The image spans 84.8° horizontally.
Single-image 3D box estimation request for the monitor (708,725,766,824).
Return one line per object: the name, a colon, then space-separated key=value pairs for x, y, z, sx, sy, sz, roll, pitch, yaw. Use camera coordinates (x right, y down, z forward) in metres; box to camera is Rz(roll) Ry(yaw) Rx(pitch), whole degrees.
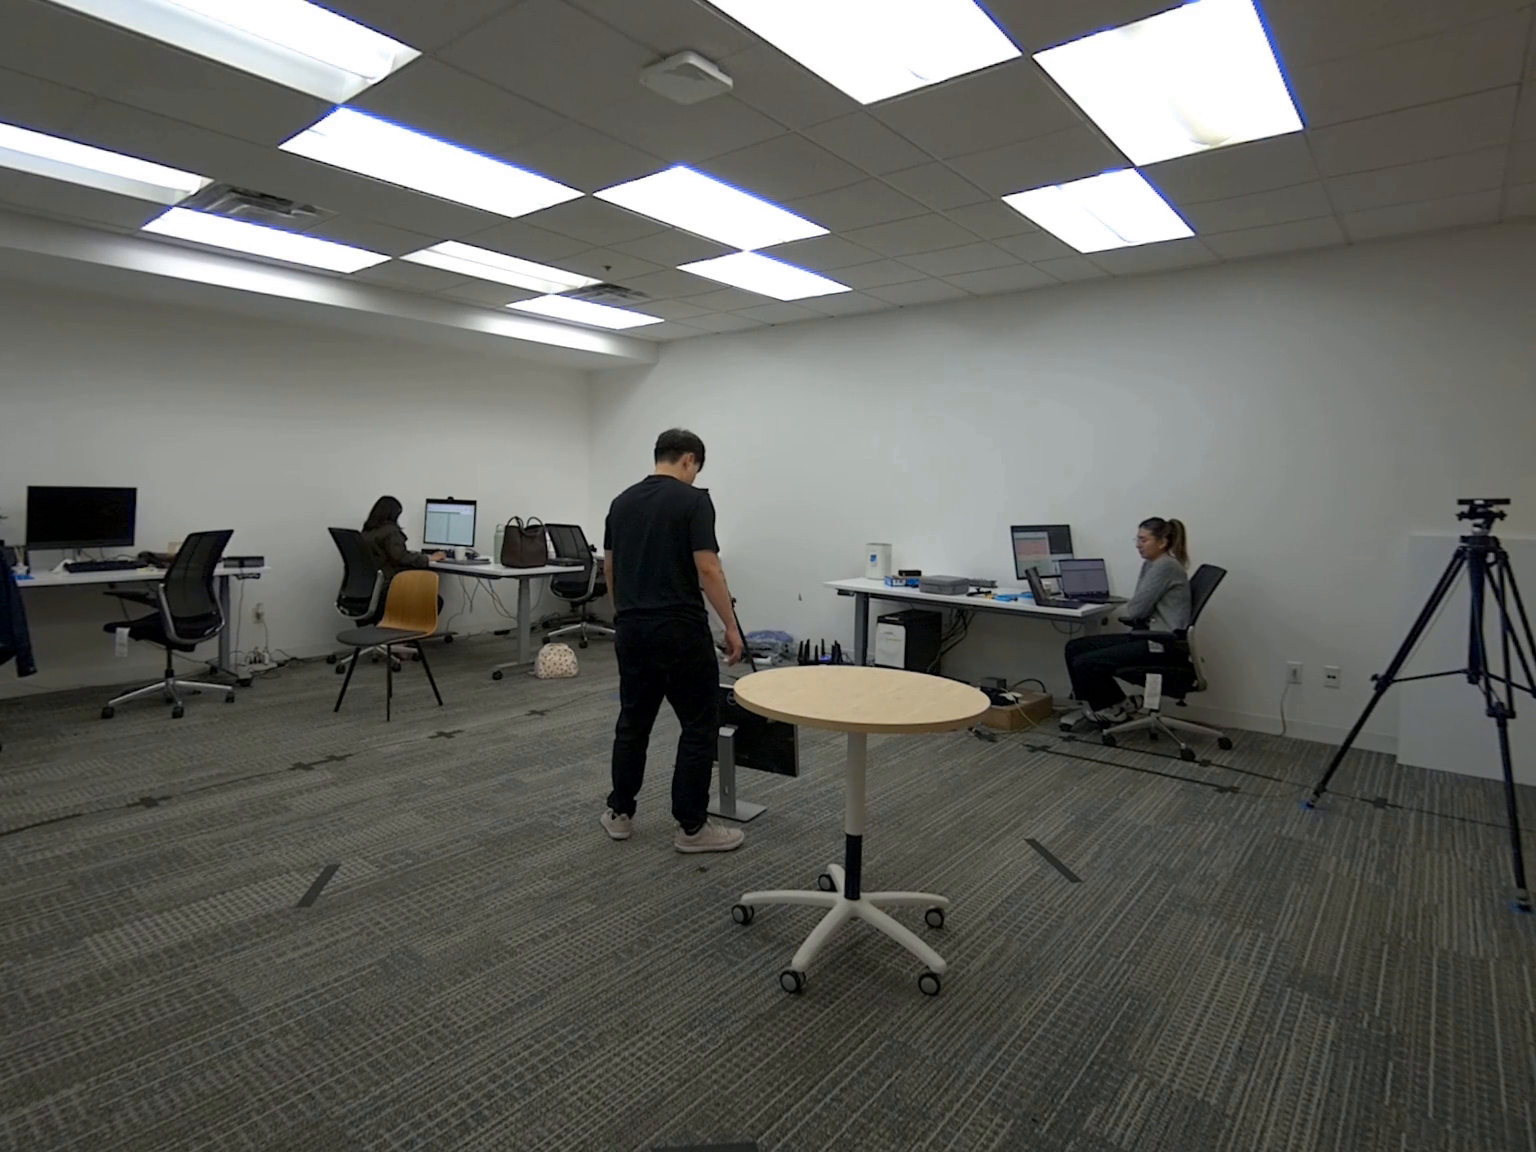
monitor: x=-0.160 y=0.752 z=3.682 sx=0.554 sy=0.522 sz=0.182 roll=4 pitch=2 yaw=27
